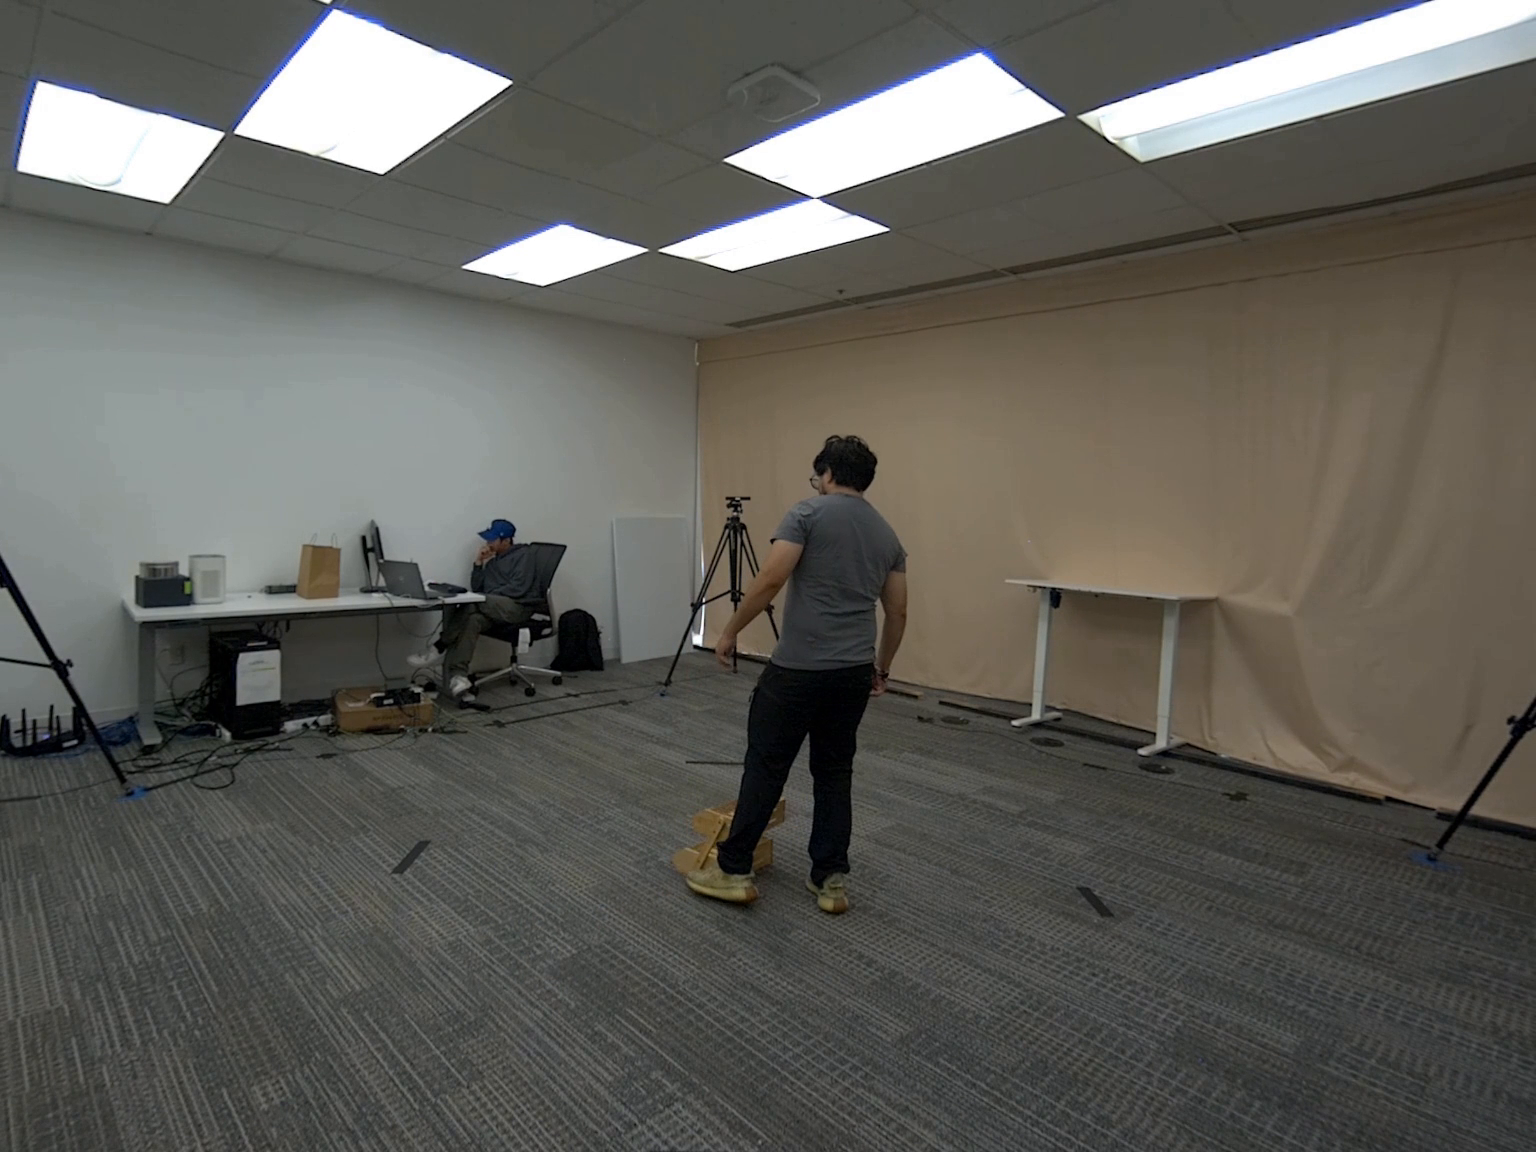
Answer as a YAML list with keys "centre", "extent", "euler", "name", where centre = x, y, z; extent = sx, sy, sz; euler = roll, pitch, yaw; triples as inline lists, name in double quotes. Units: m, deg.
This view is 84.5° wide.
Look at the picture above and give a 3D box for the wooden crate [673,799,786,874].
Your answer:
- centre: [-0.153, 0.966, 3.176]
  extent: [0.309, 0.272, 0.317]
  euler: [5, 5, 38]
  name: "wooden crate"
